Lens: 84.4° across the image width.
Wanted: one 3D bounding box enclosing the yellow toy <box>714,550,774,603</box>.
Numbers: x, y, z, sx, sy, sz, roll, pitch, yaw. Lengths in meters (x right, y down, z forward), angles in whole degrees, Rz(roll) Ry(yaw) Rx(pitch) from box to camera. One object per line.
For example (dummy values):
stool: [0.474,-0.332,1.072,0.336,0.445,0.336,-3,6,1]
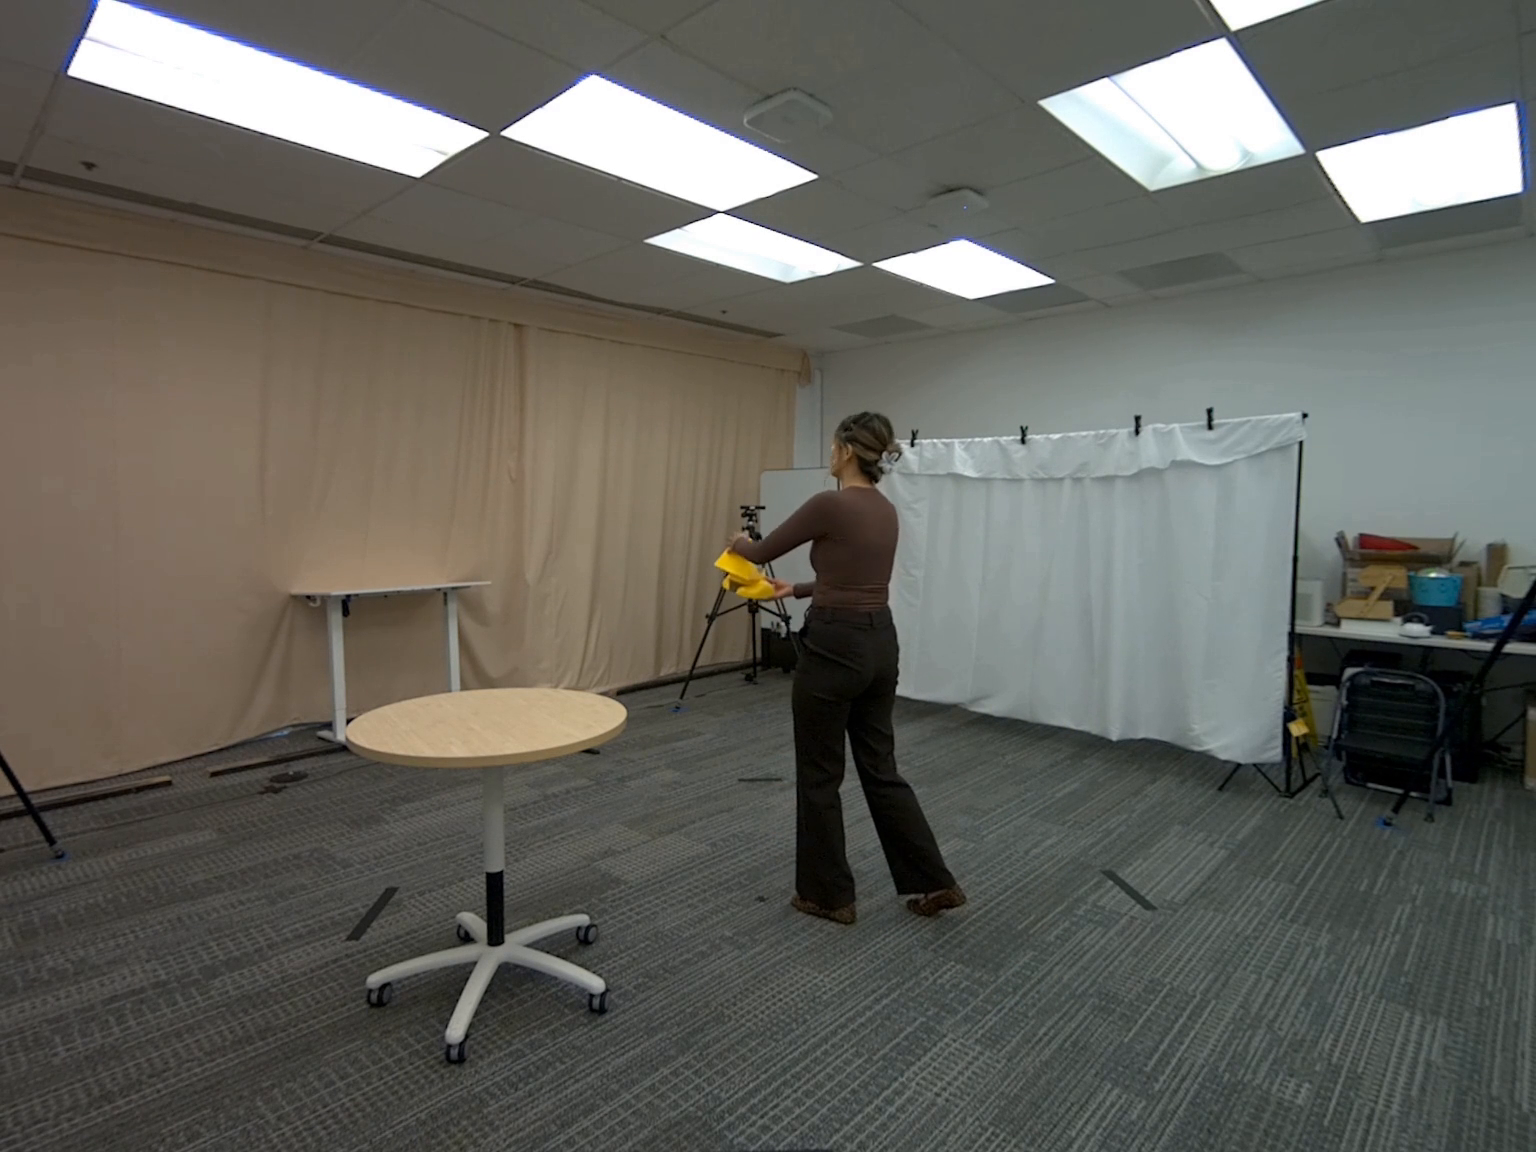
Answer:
yellow toy: [-0.057,-0.047,3.216,0.187,0.229,0.212,-3,17,-40]
